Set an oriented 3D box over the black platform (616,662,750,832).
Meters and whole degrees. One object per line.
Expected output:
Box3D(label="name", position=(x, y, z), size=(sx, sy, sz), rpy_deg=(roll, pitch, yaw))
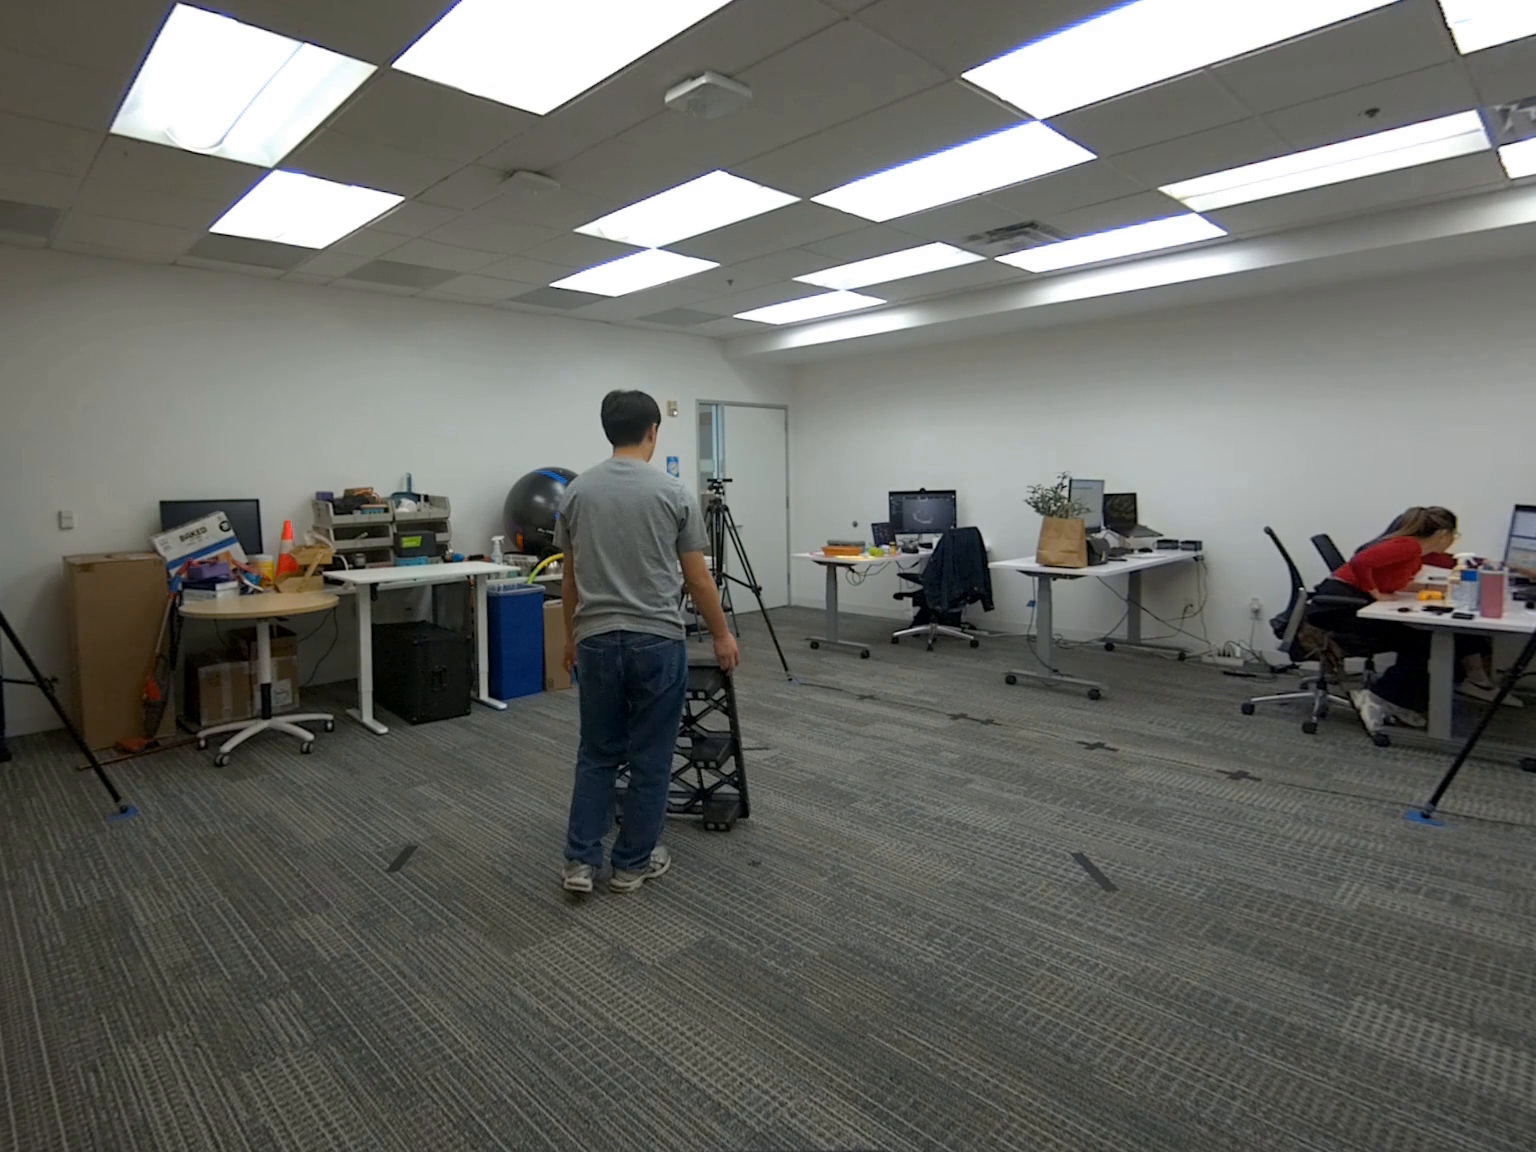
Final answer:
Box3D(label="black platform", position=(-0.400, 0.678, 3.309), size=(0.612, 0.784, 0.145), rpy_deg=(1, 32, 11))
